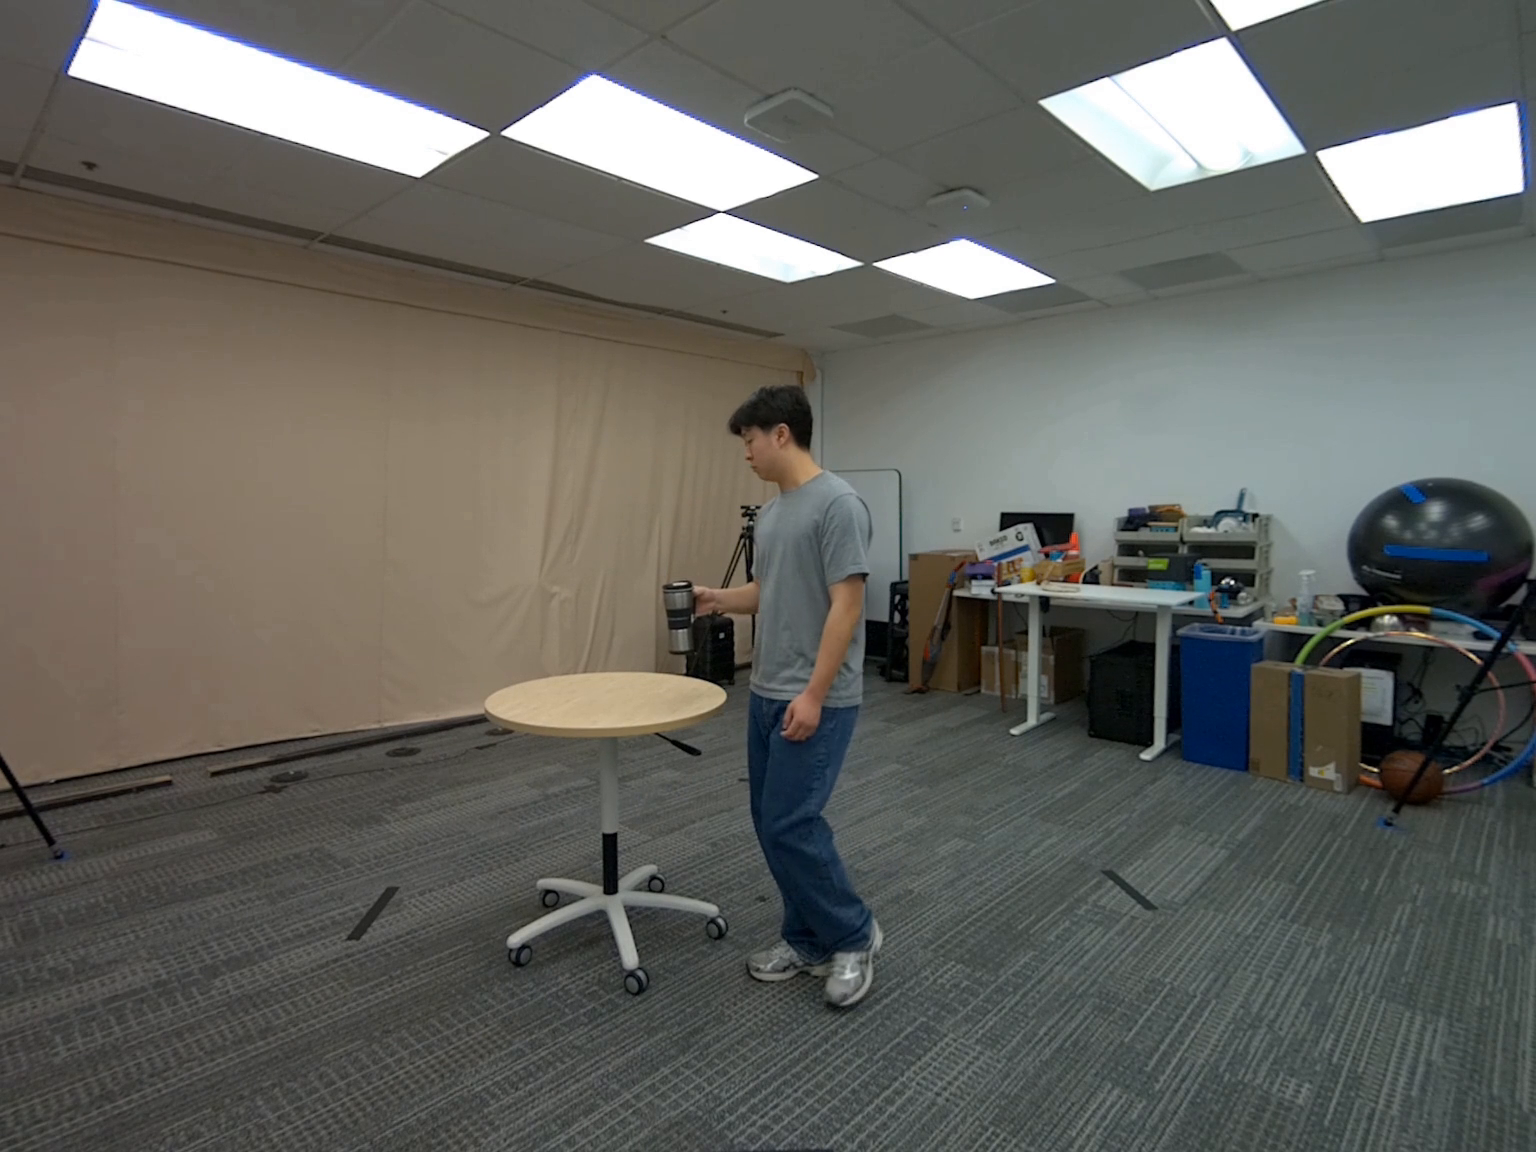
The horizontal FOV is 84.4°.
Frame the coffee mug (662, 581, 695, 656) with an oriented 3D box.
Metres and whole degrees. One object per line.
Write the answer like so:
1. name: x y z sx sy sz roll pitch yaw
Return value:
1. coffee mug: -0.227 0.123 2.407 0.120 0.202 0.089 -7 3 -12
